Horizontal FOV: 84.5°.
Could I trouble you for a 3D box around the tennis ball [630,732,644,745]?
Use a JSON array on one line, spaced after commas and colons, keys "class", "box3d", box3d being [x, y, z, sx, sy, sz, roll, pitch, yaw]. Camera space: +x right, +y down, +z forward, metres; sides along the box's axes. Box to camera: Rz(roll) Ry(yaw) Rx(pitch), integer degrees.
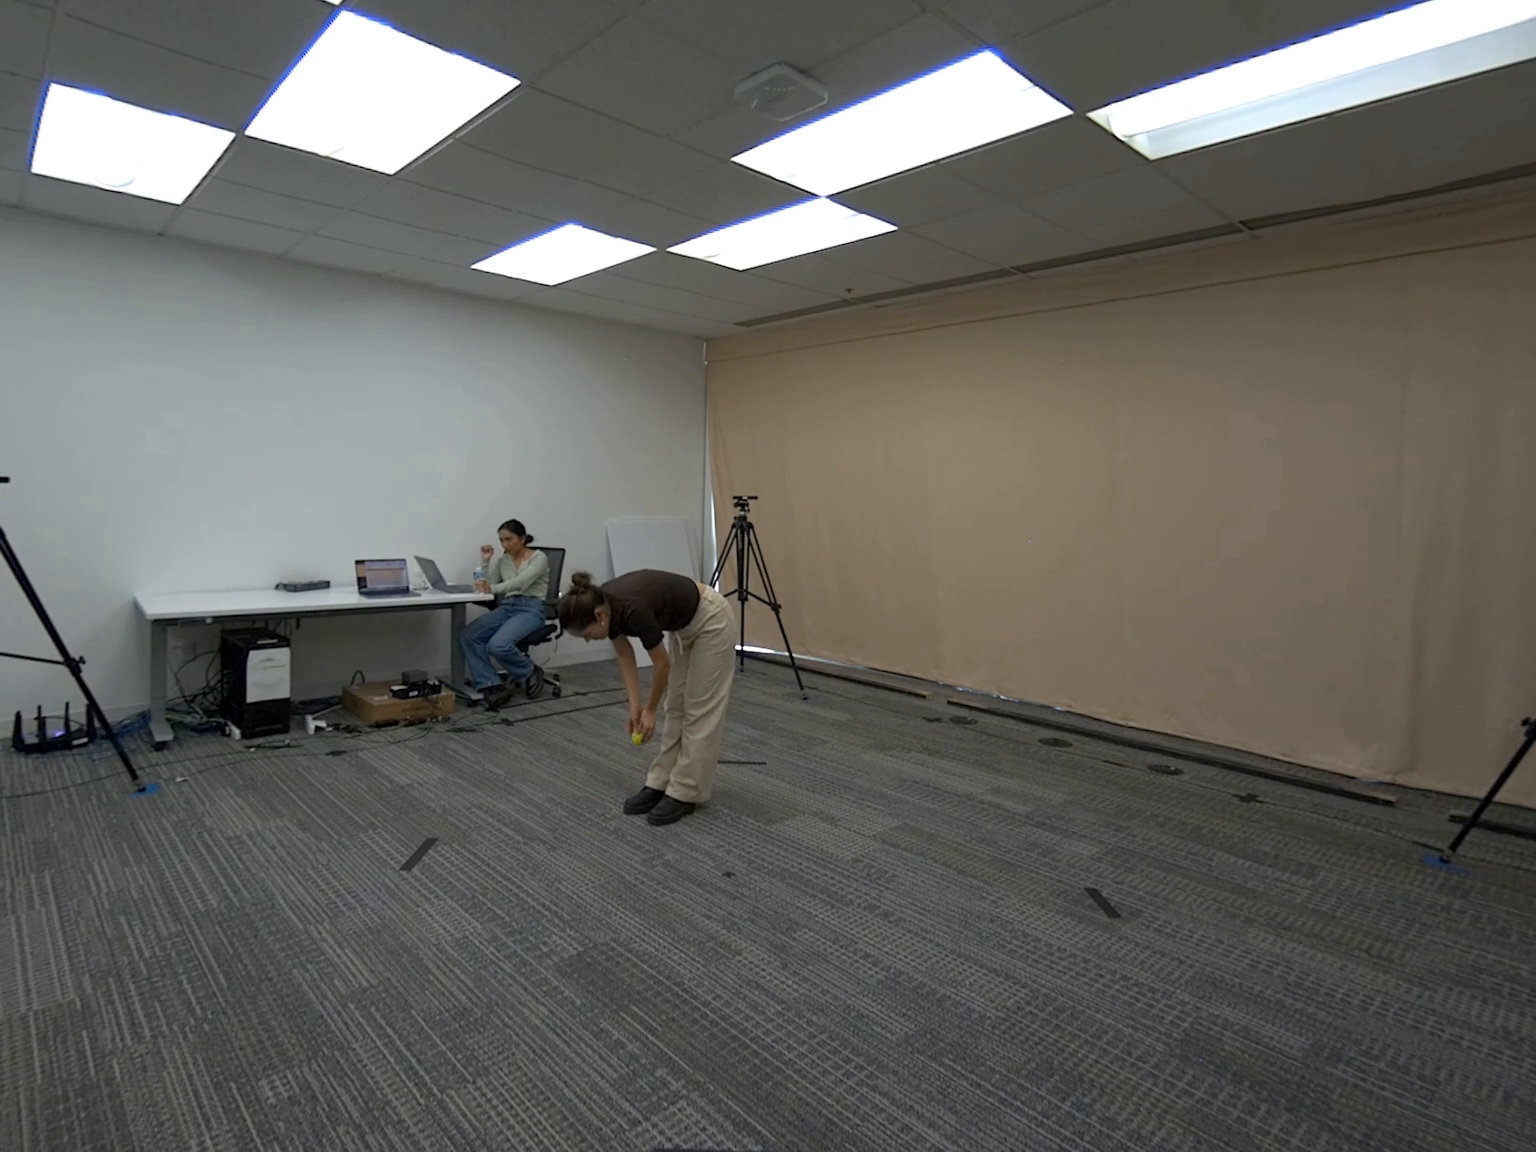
[{"class": "tennis ball", "box3d": [-0.571, 0.711, 3.612, 0.066, 0.066, 0.067, 1, 4, -1]}]
